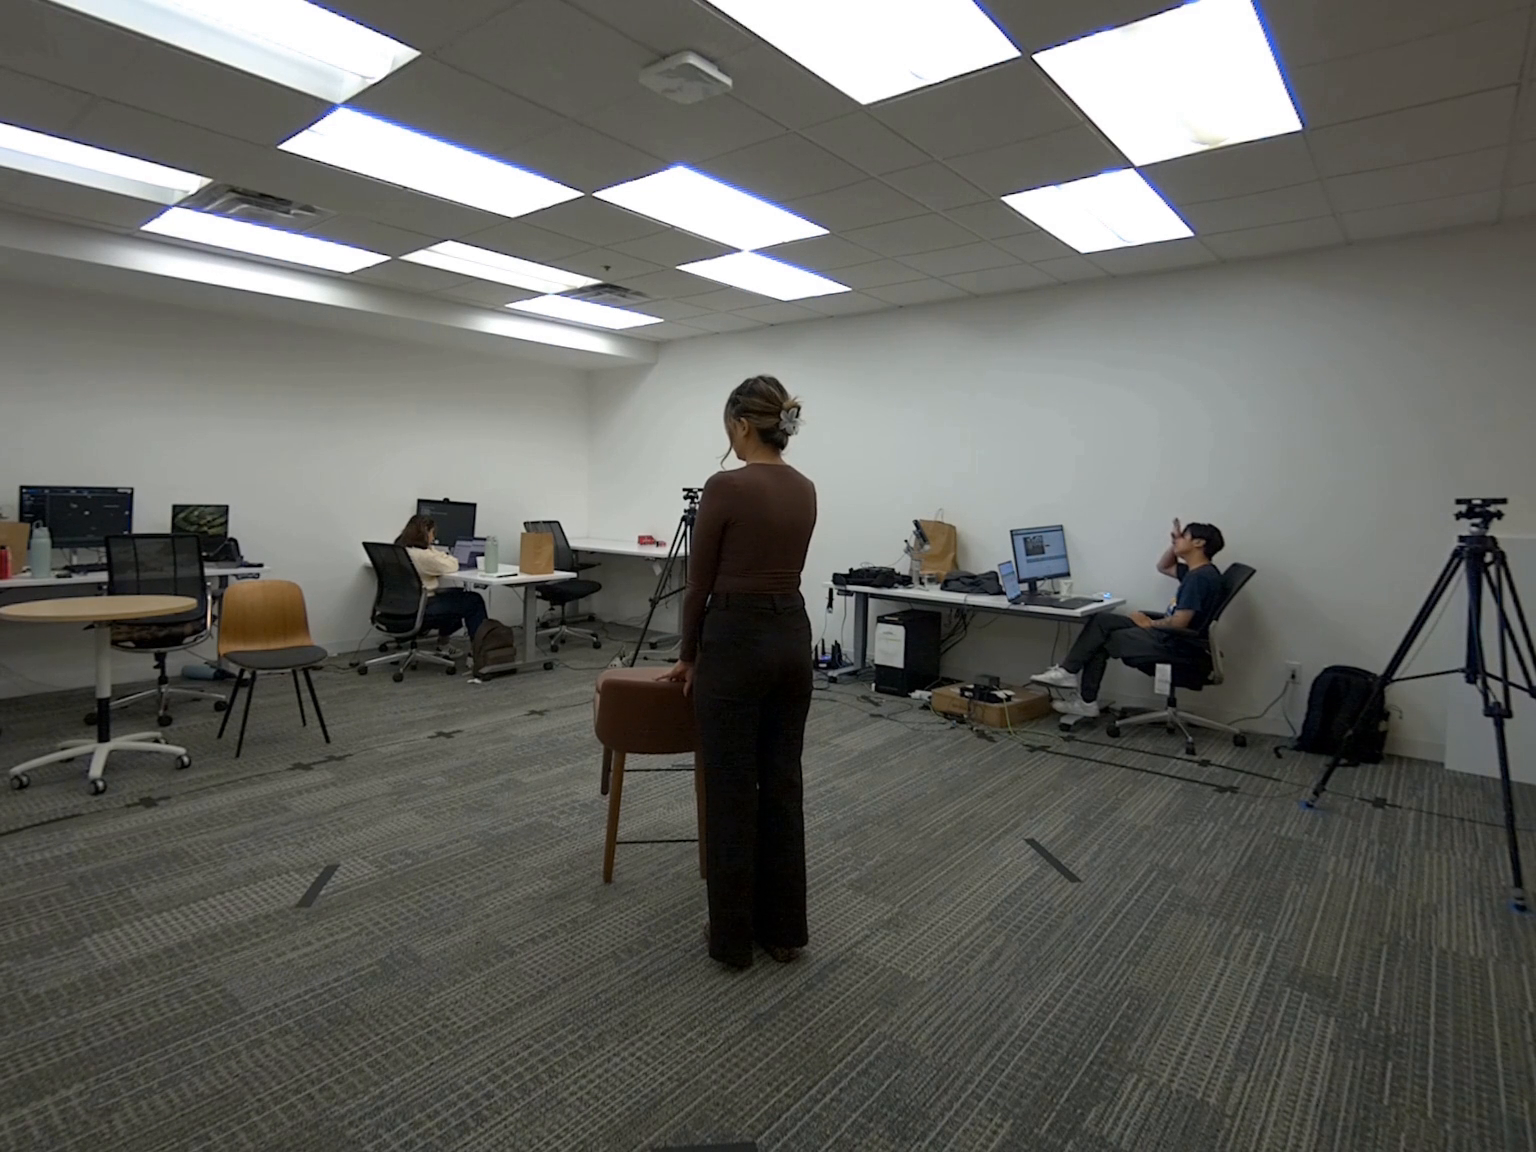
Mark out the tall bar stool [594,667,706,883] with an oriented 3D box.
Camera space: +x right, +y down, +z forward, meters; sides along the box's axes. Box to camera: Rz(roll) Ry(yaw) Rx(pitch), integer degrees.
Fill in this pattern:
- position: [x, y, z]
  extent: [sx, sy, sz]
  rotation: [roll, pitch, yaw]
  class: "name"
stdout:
- position: [-0.401, 0.593, 3.011]
  extent: [0.453, 0.871, 0.482]
  rotation: [1, 29, -8]
  class: "tall bar stool"
